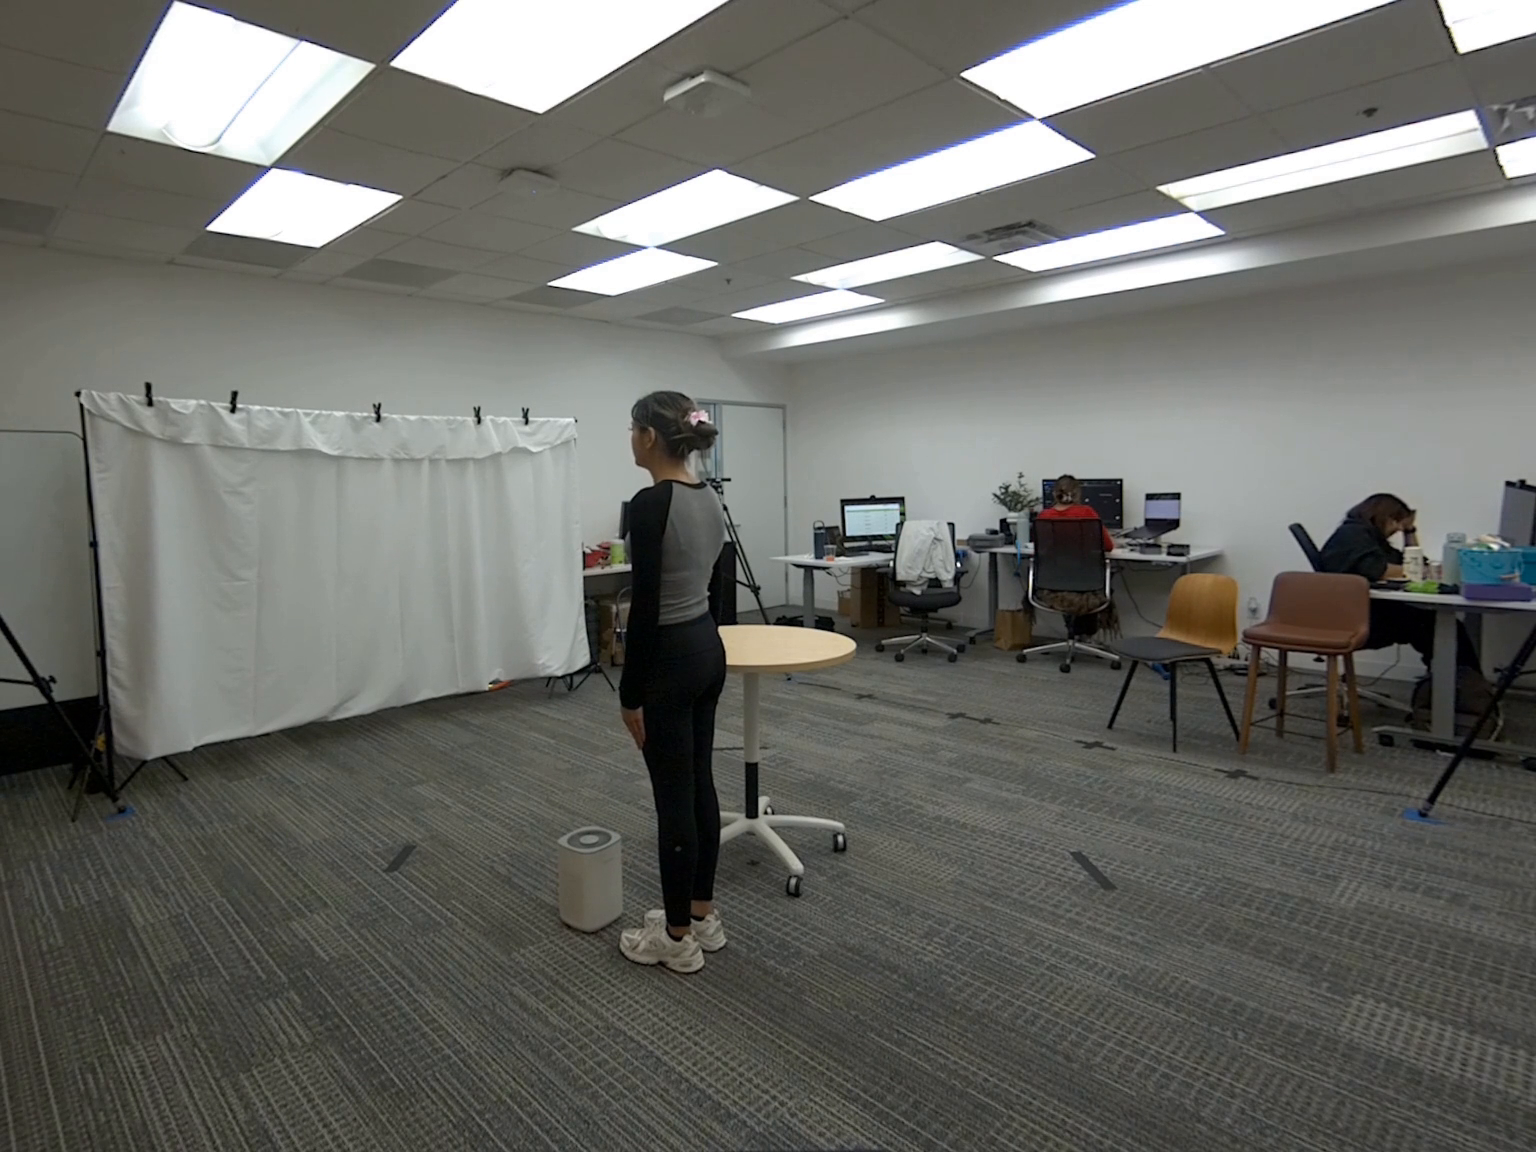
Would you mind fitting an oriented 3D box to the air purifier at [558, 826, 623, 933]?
[{"bbox_3d":[-0.559,0.965,2.714,0.176,0.264,0.167,3,6,35],"label":"air purifier"}]
